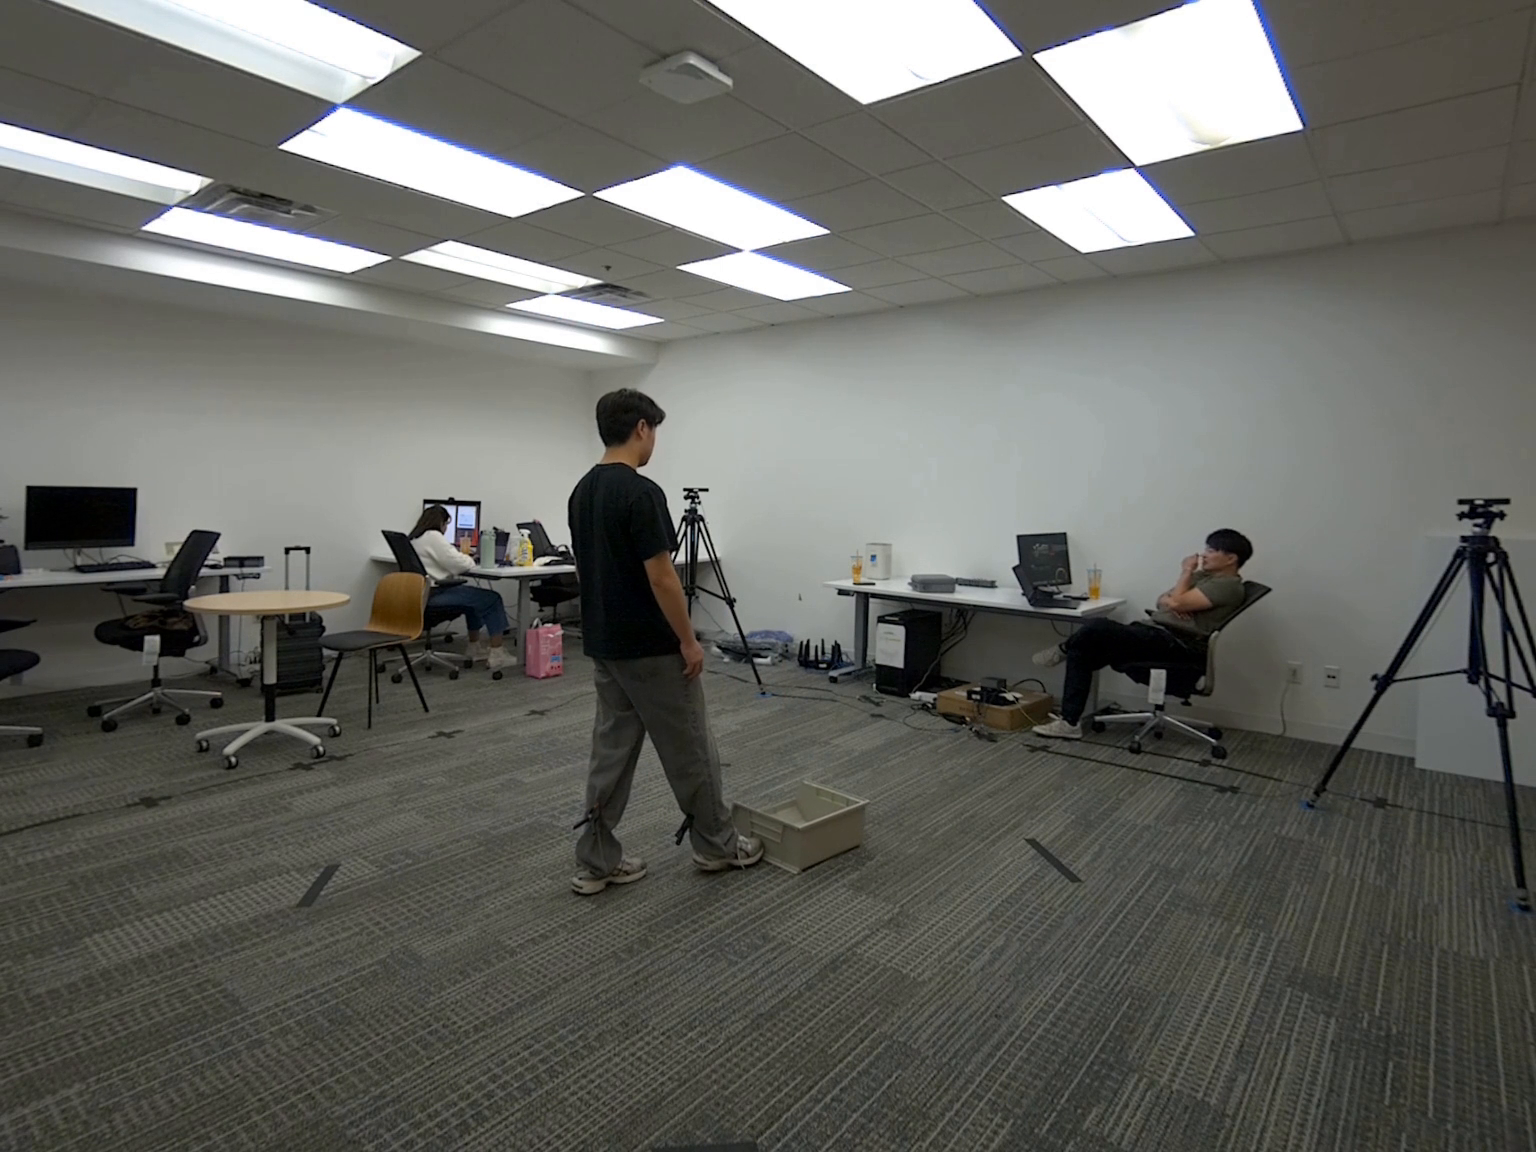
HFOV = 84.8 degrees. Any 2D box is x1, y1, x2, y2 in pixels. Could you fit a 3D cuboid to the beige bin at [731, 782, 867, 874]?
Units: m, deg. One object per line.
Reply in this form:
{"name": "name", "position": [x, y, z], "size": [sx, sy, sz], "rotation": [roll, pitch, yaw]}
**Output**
{"name": "beige bin", "position": [0.105, 0.965, 3.337], "size": [0.391, 0.188, 0.409], "rotation": [8, 8, 44]}
